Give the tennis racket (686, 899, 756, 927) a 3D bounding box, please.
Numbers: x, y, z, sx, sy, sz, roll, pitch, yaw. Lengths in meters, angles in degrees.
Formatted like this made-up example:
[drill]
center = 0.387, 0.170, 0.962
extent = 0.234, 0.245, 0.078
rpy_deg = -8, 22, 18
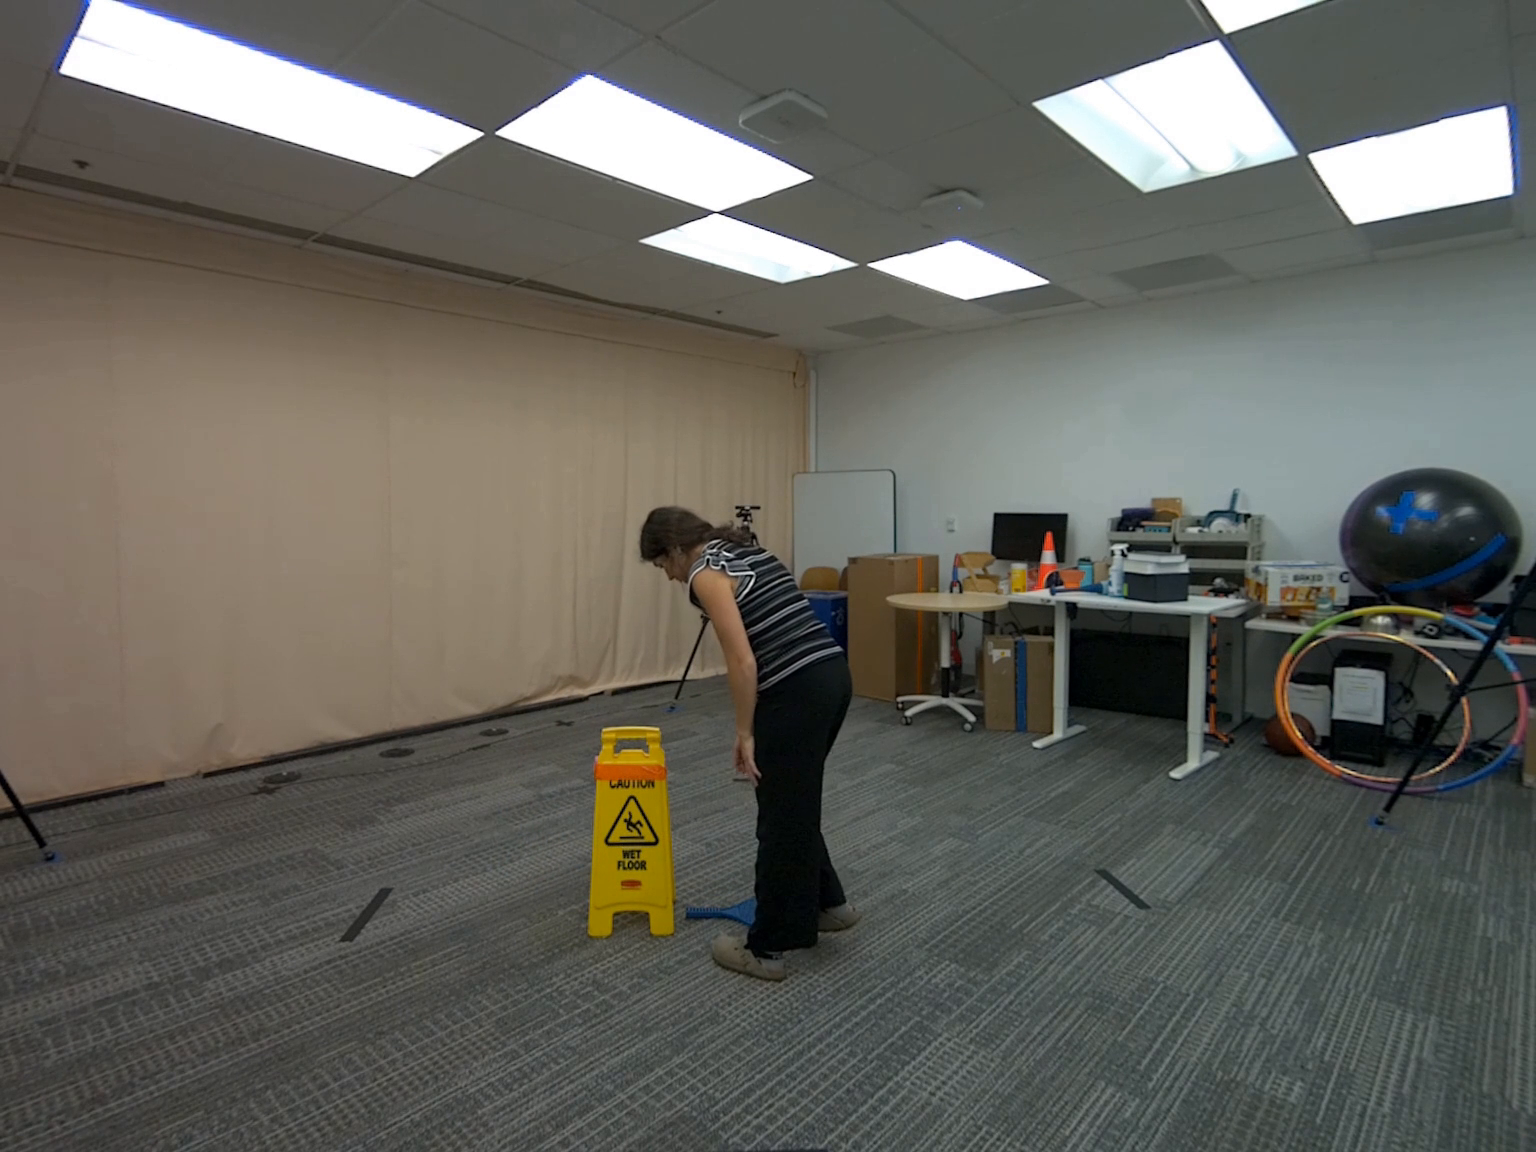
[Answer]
[tennis racket]
center = -0.058, 1.140, 2.860
extent = 0.432, 0.032, 0.215
rpy_deg = 1, 5, -2
